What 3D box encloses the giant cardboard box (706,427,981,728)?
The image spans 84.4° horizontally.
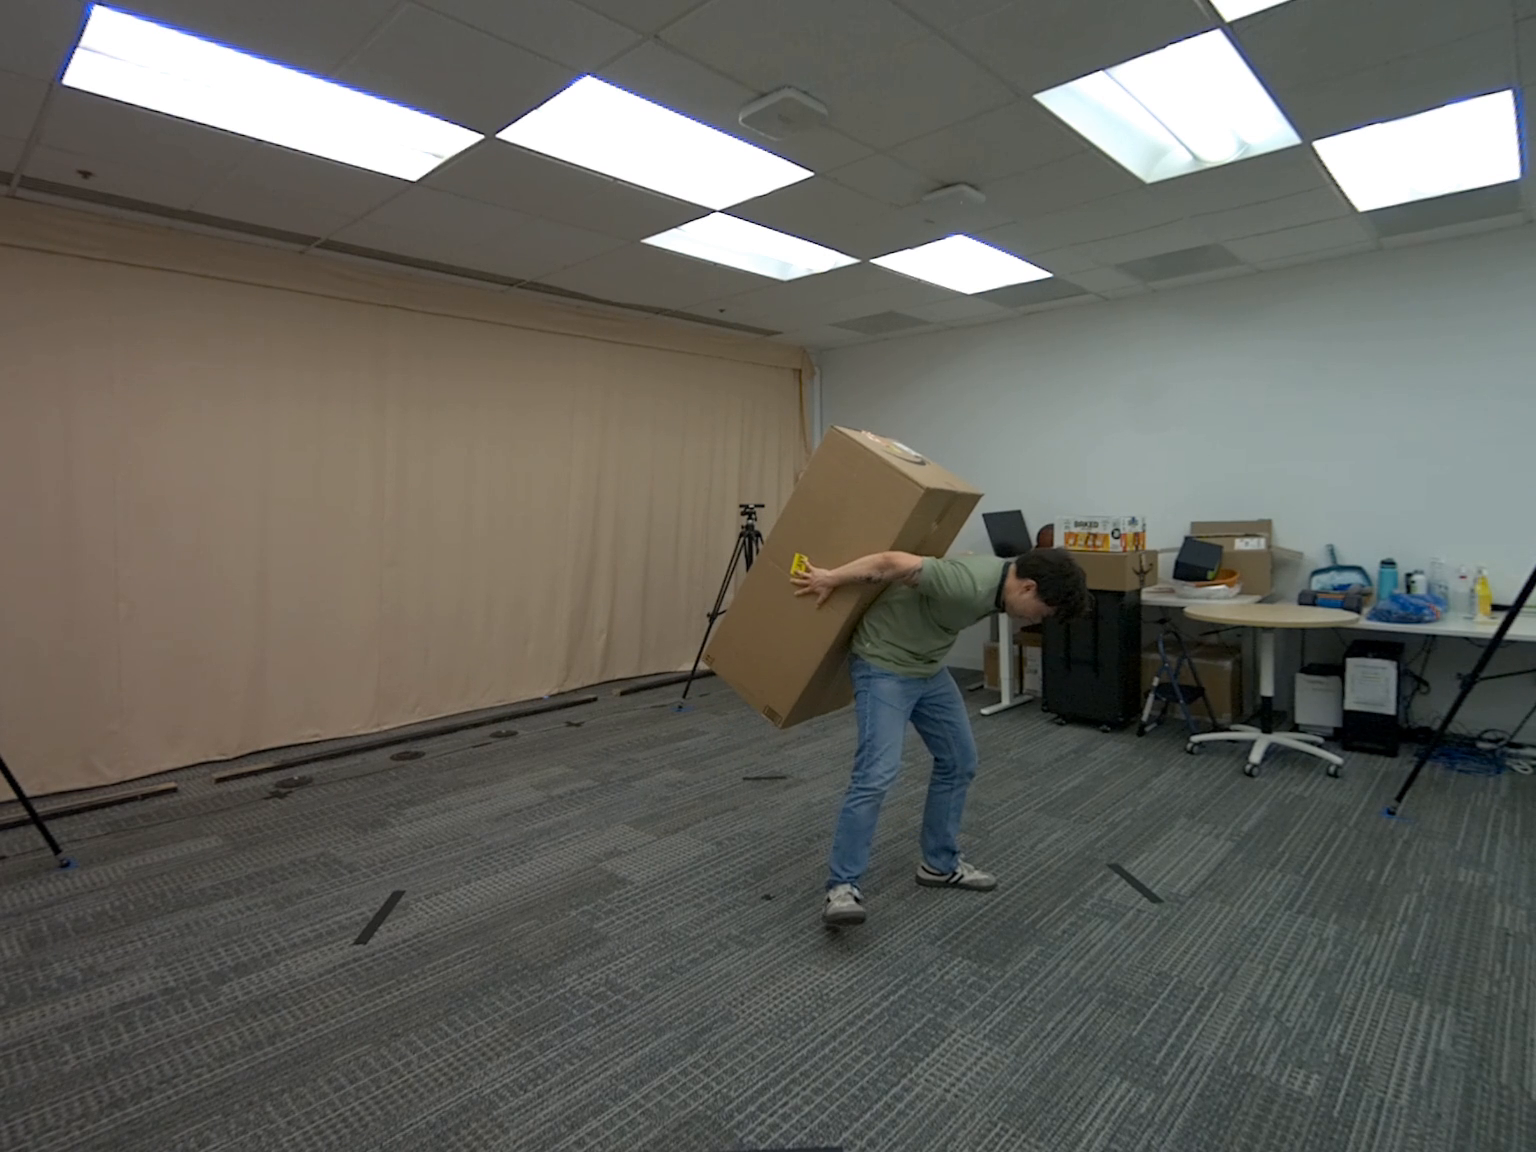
[{"bbox_3d":[0.265,0.010,3.181,0.439,1.025,0.560,39,21,27],"label":"giant cardboard box"}]
